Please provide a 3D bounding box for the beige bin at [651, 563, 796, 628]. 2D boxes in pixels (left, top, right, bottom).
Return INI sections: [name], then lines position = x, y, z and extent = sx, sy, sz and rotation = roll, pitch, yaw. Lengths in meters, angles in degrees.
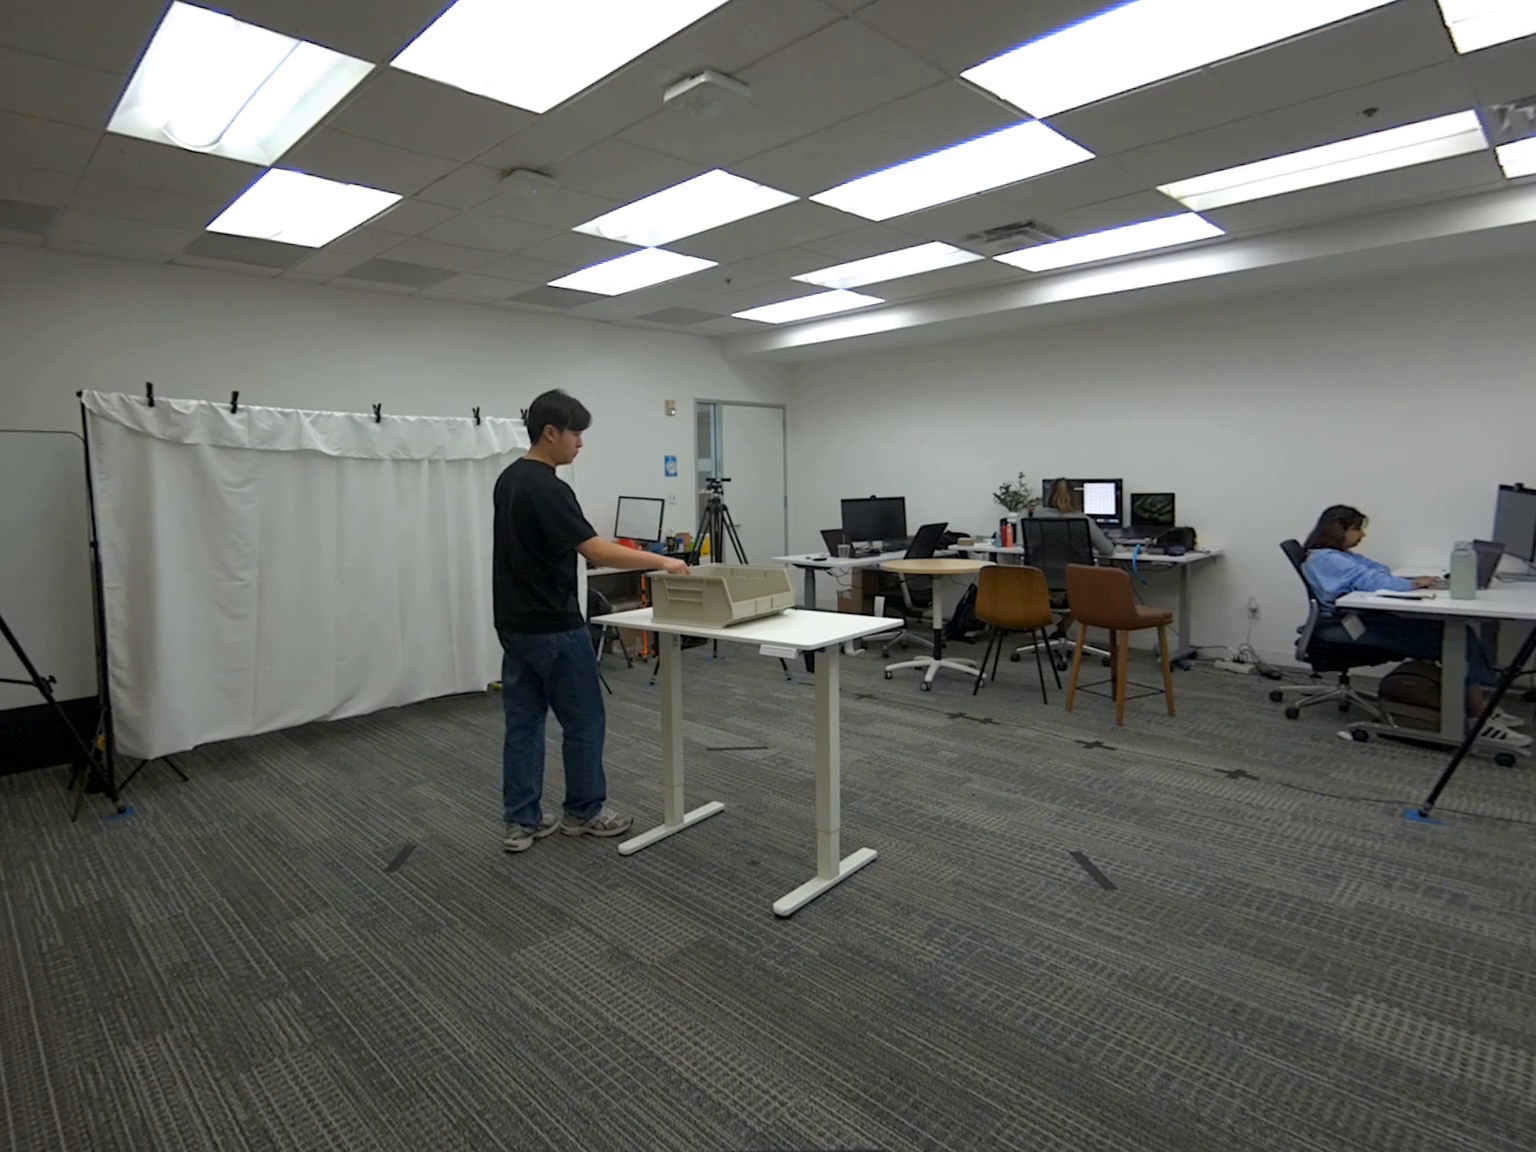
[beige bin]
position = -0.161, 0.071, 3.141
extent = 0.388, 0.188, 0.412
rotation = 1, 7, 35
